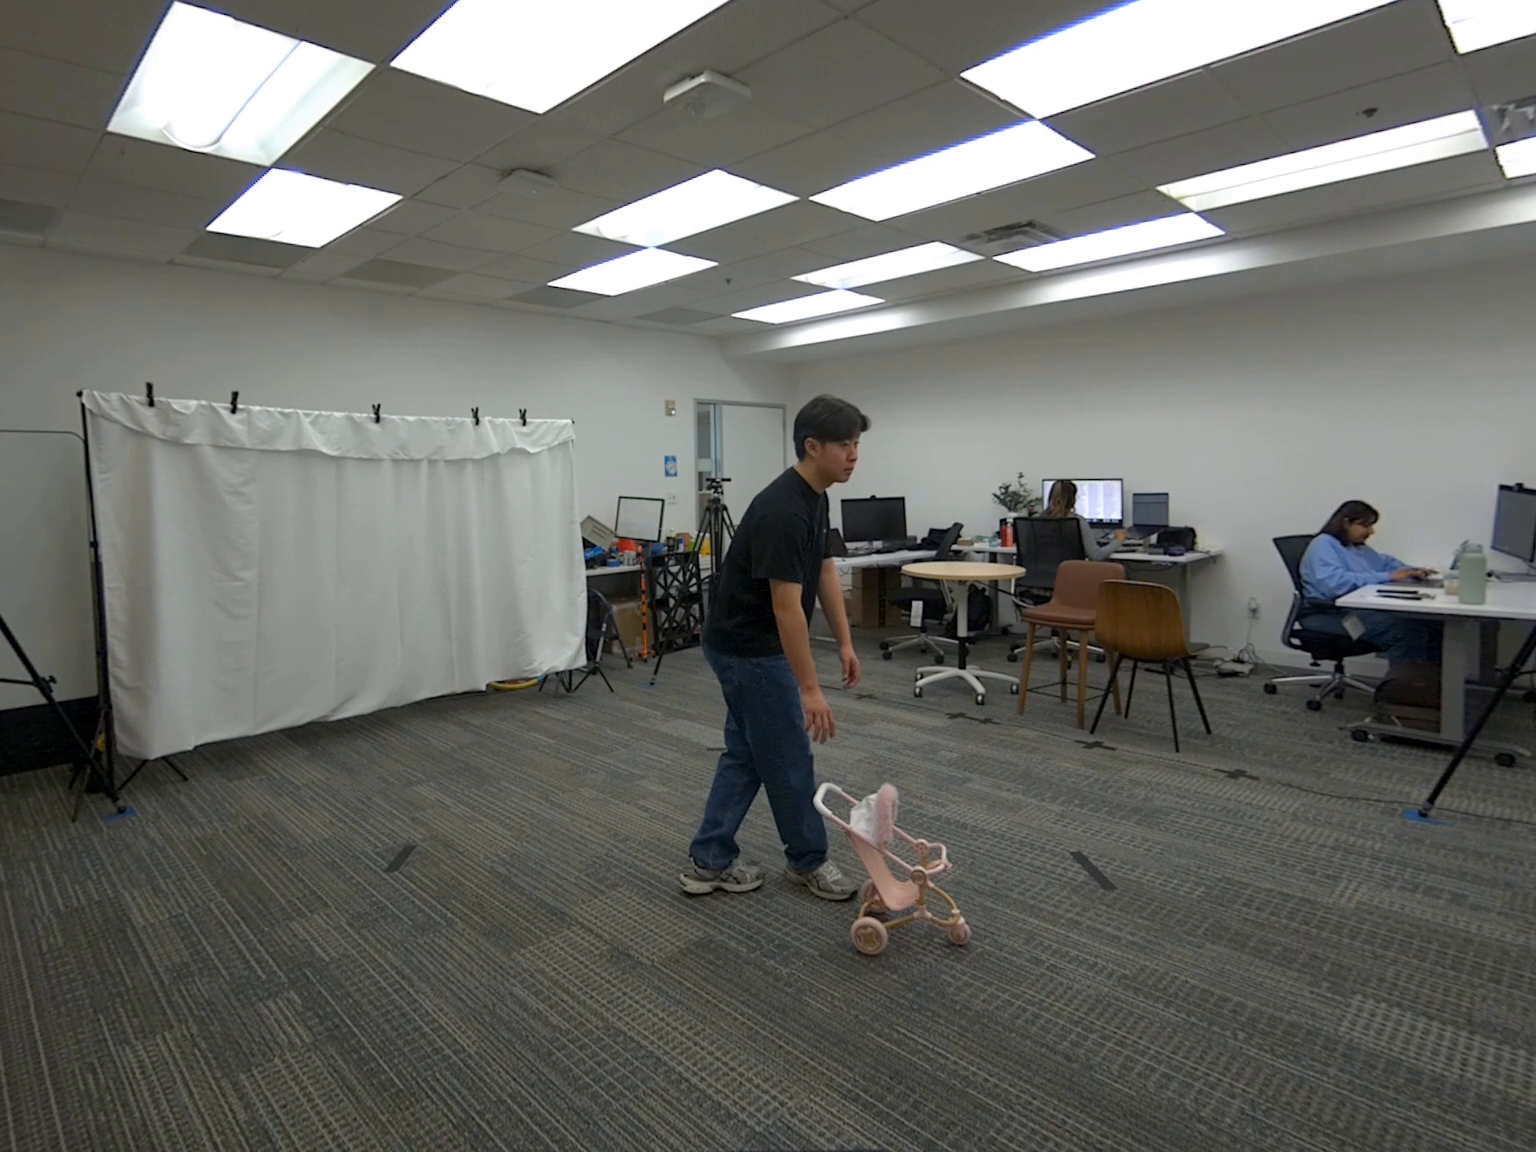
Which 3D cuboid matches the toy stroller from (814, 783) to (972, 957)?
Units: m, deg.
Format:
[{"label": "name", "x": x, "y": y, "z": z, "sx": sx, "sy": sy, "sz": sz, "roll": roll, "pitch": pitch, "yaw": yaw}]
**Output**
[{"label": "toy stroller", "x": 0.387, "y": 0.874, "z": 2.580, "sx": 0.346, "sy": 0.536, "sz": 0.277, "roll": -17, "pitch": -1, "yaw": 20}]
